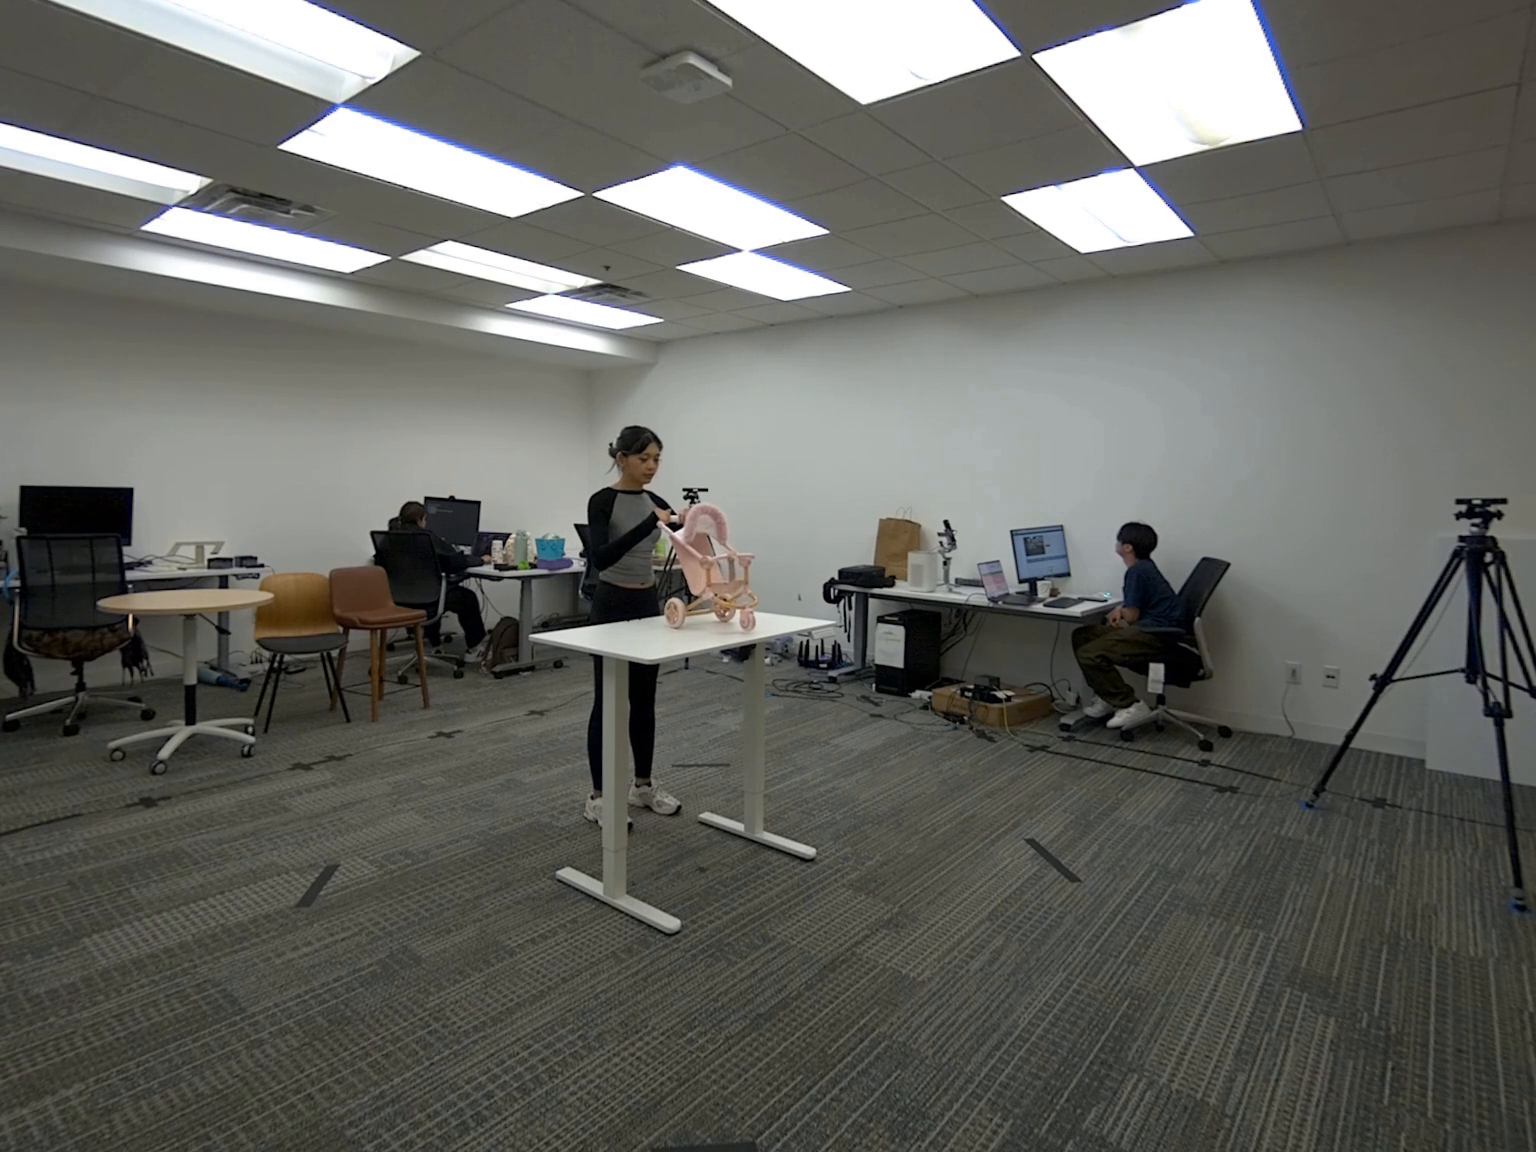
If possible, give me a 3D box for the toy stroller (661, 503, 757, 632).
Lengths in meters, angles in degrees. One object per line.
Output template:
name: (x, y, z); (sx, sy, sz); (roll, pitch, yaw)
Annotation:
toy stroller: (-0.226, -0.038, 3.129); (0.273, 0.543, 0.347); (-2, -15, -40)
